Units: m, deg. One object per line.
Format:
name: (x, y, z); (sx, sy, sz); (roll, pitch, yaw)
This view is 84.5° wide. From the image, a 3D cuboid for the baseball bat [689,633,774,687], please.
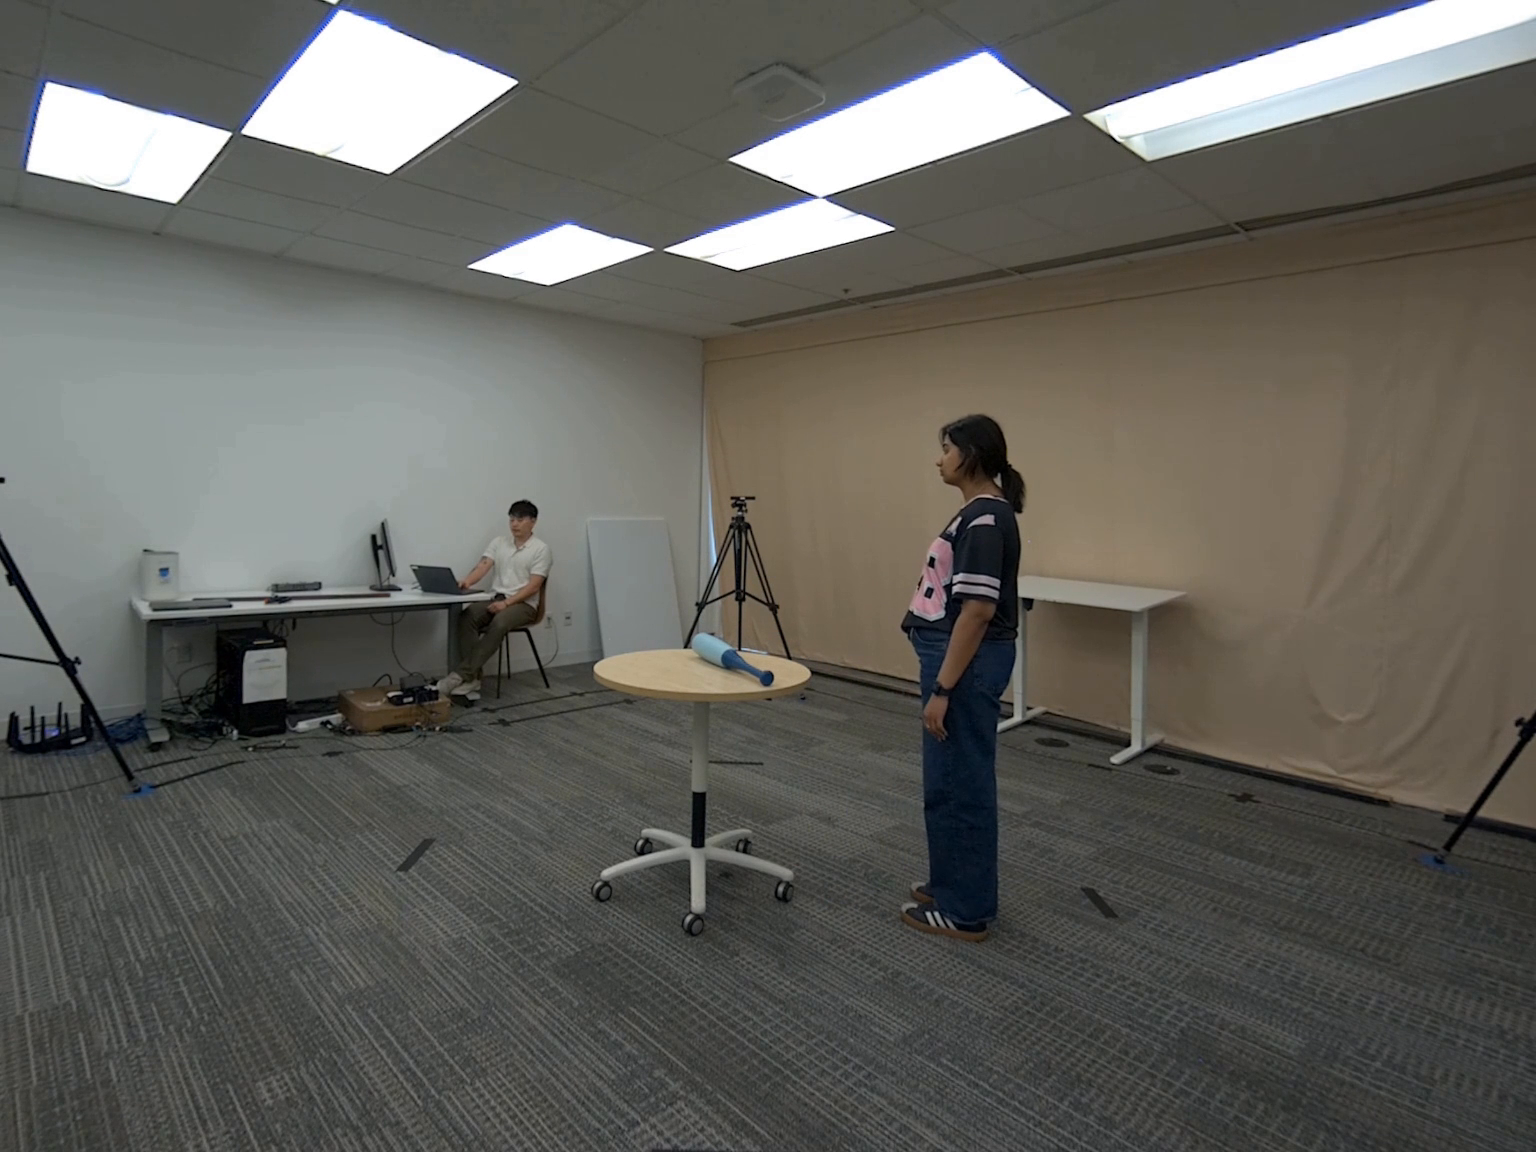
baseball bat: (-0.123, 0.299, 2.963); (0.087, 0.088, 0.556); (-1, 8, -29)
